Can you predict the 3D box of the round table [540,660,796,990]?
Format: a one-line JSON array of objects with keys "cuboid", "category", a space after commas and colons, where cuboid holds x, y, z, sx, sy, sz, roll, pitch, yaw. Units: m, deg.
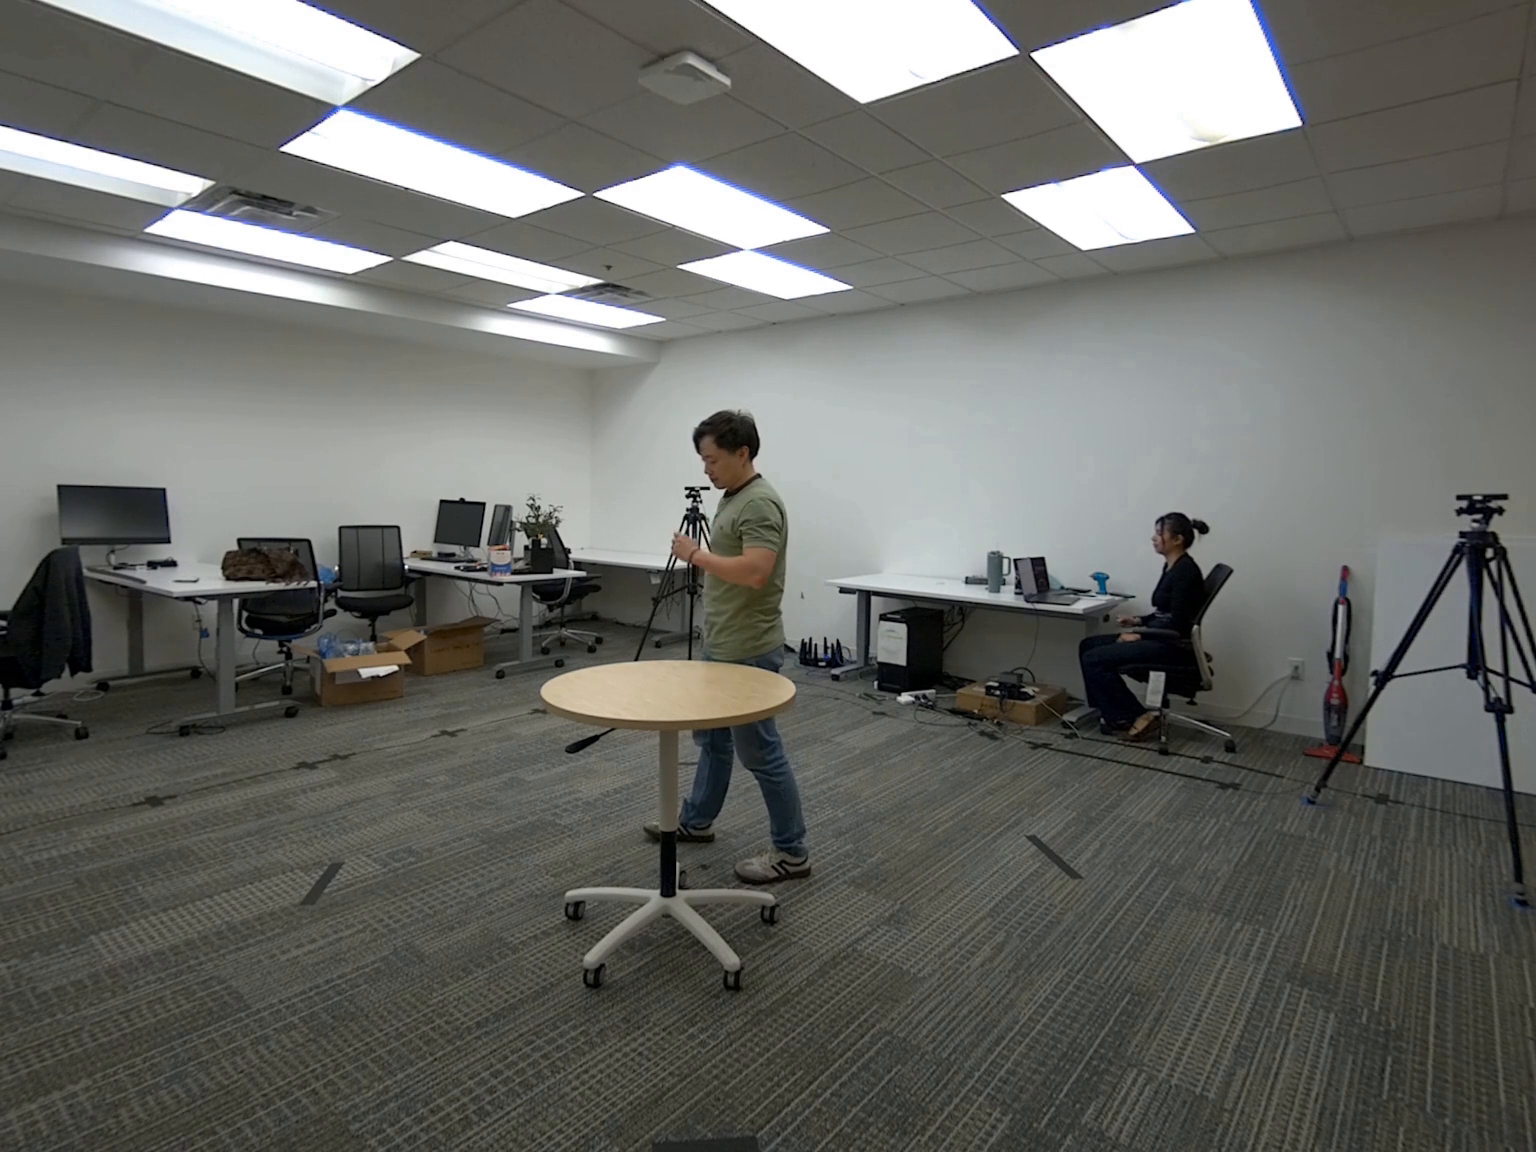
[{"cuboid": [-0.318, 0.727, 2.593, 0.763, 0.791, 0.768, 0, 5, -2], "category": "round table"}]
